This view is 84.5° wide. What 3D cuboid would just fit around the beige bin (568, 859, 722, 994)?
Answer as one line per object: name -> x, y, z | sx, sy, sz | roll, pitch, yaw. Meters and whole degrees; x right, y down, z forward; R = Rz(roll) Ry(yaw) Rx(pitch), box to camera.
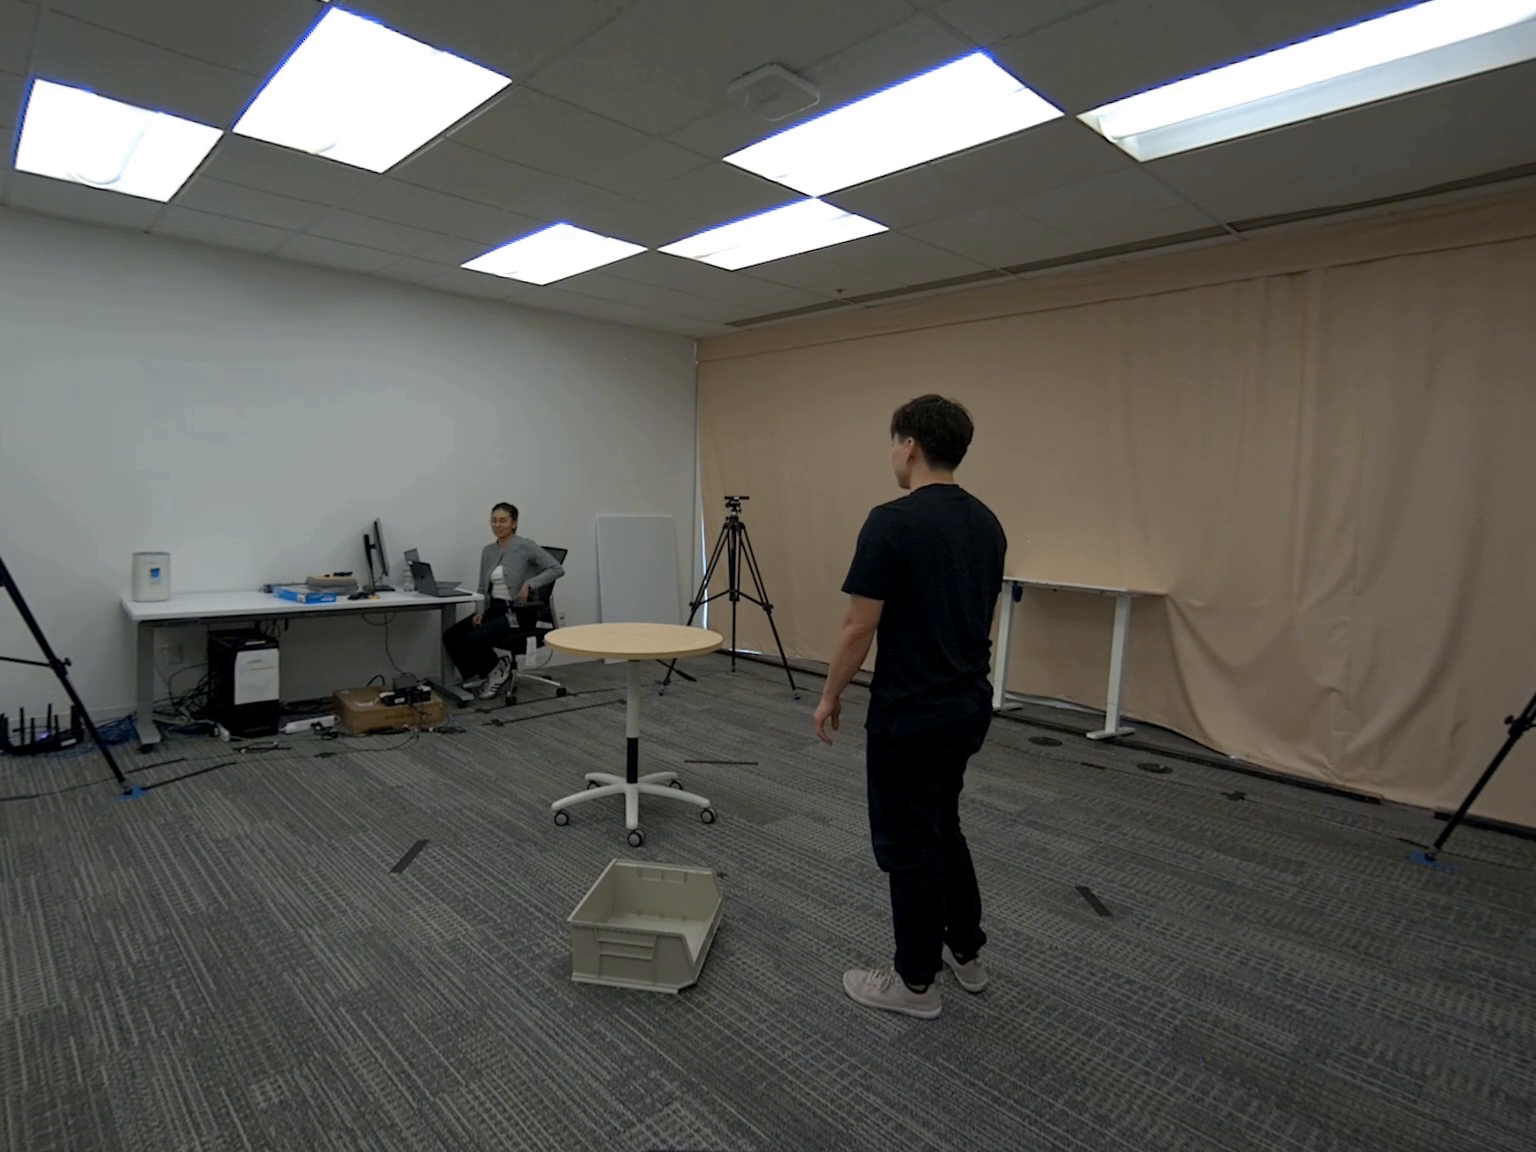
beige bin -> -0.370, 1.067, 2.569 | 0.380, 0.188, 0.420 | 1, 6, 9
